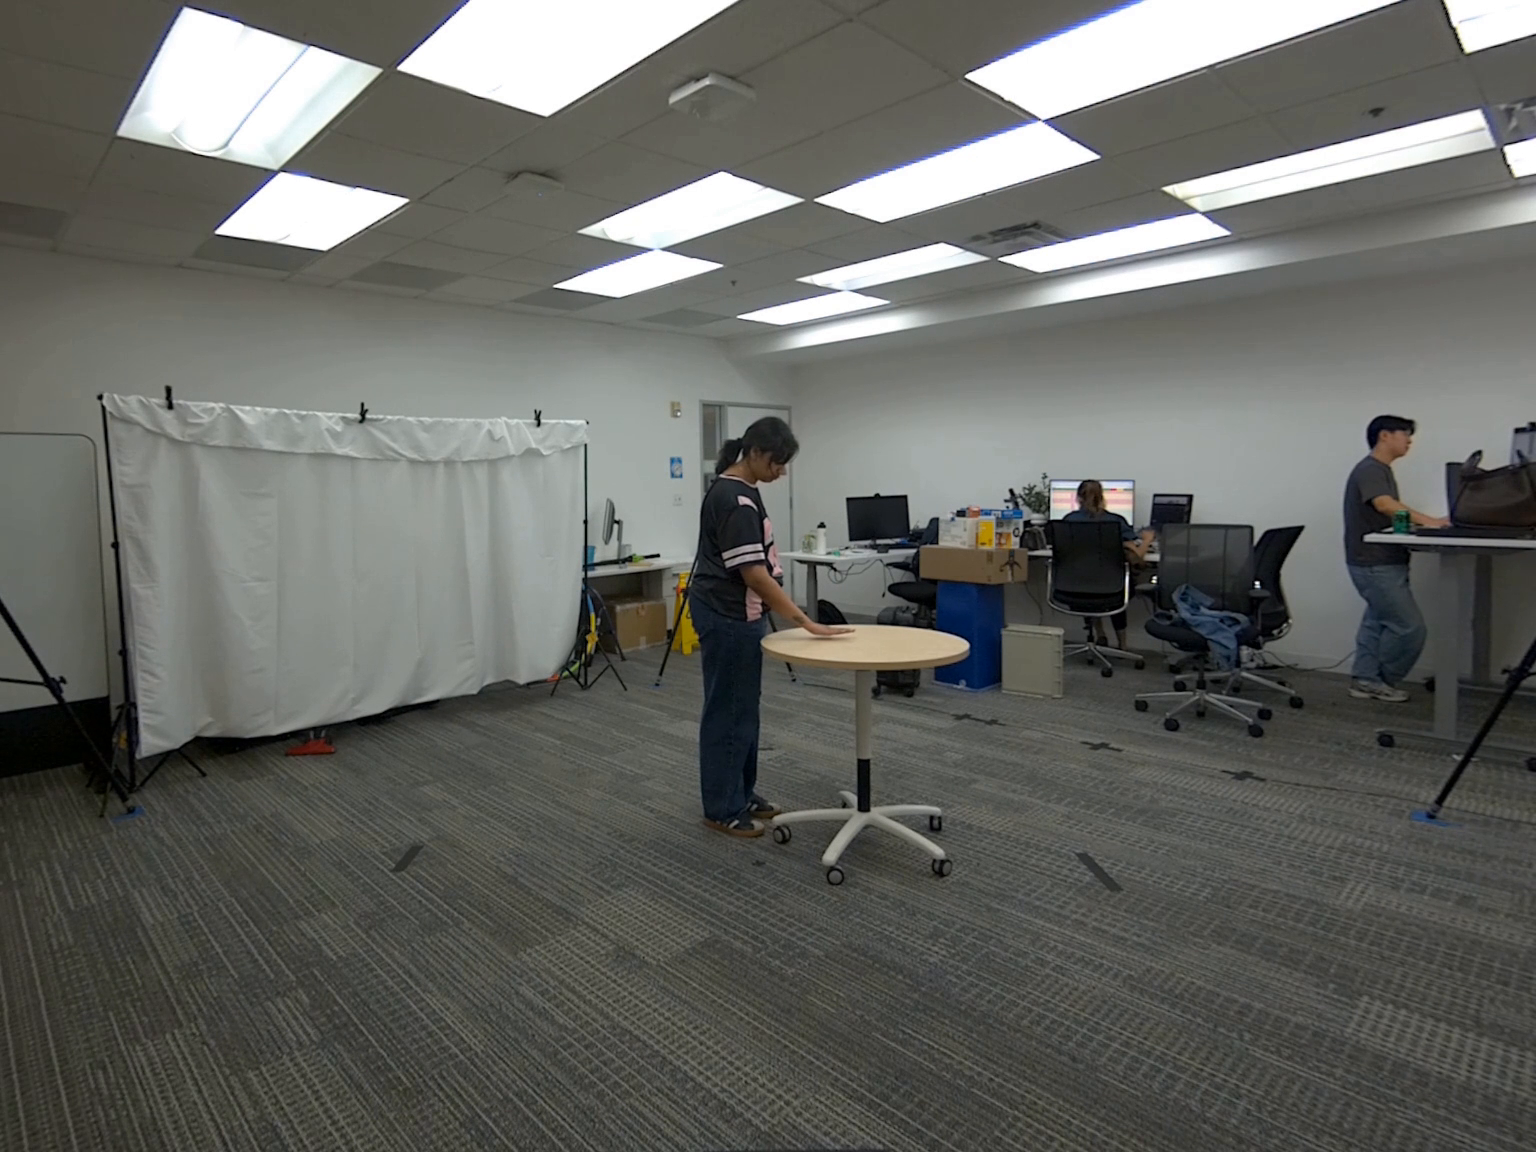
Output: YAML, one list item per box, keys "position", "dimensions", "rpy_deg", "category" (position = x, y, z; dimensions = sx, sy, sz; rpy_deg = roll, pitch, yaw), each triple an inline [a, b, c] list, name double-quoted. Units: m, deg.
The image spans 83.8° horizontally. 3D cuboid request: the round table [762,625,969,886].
- position: [0.370, 0.635, 3.221]
  dimensions: [0.784, 0.783, 0.789]
  rpy_deg: [-1, 5, -2]
  category: "round table"
